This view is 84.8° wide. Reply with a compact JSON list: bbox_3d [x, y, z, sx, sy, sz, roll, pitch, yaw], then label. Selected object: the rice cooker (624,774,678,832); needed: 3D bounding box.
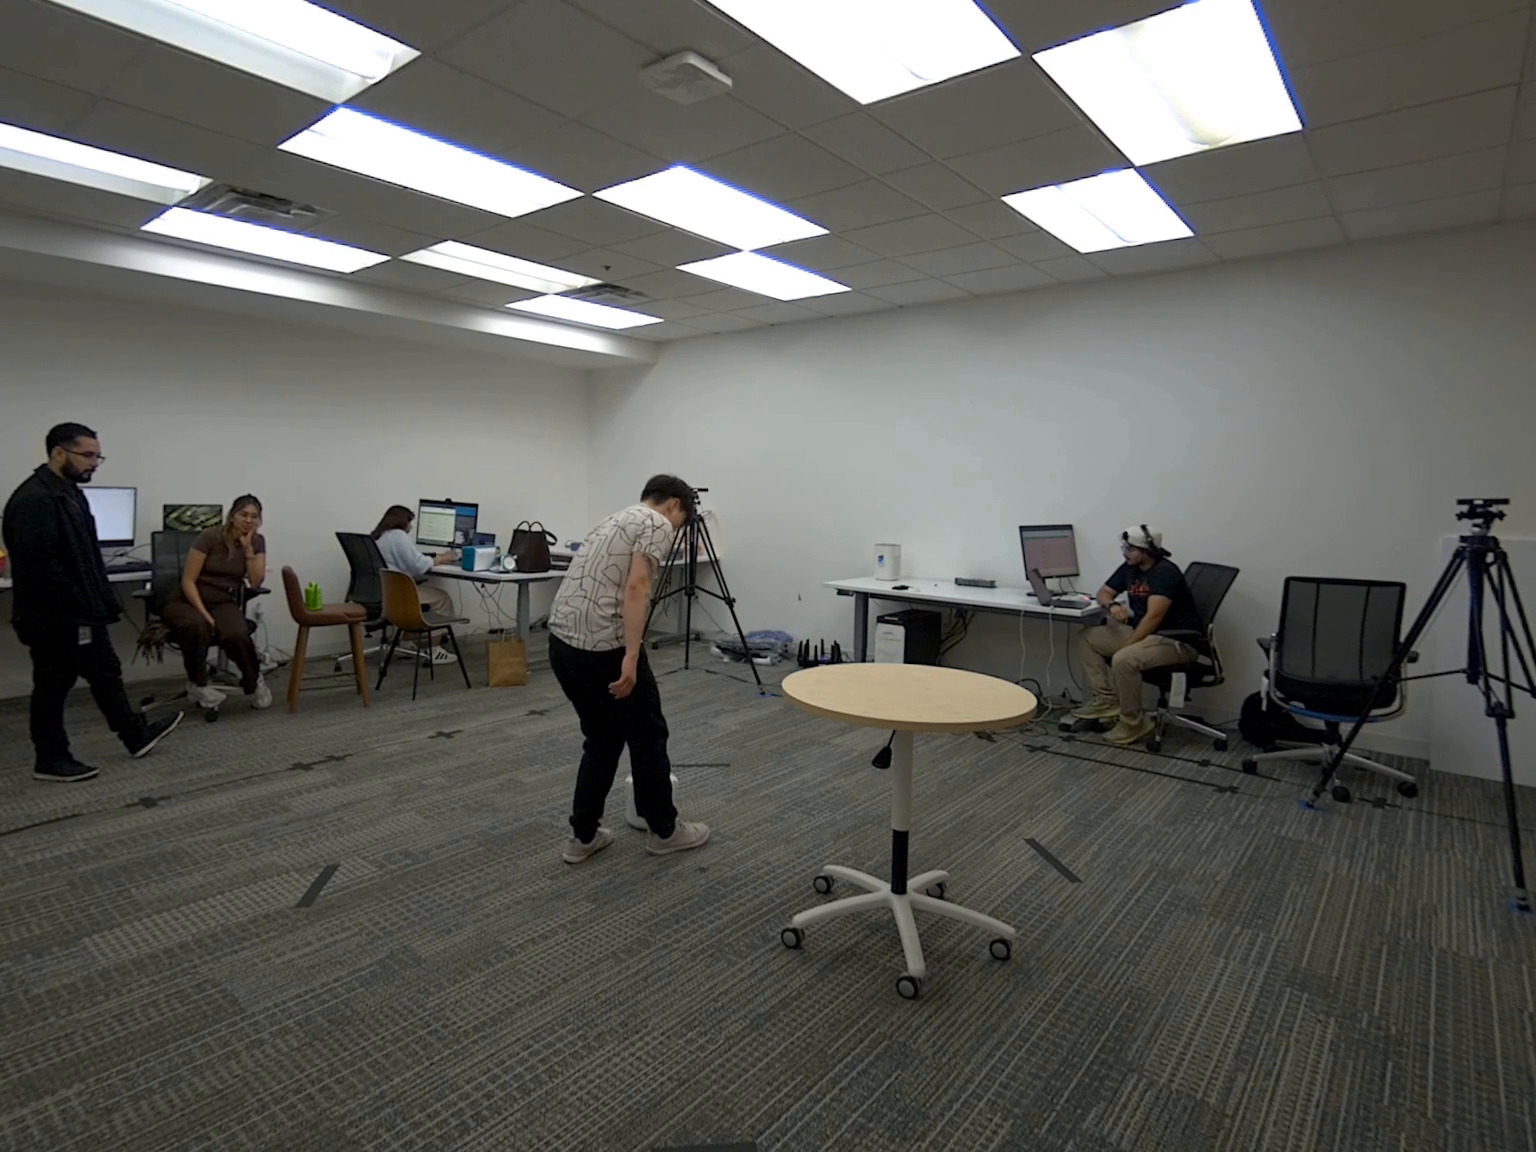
[{"bbox_3d":[-0.492,0.904,3.528,0.218,0.232,0.220,0,4,-10],"label":"rice cooker"}]
